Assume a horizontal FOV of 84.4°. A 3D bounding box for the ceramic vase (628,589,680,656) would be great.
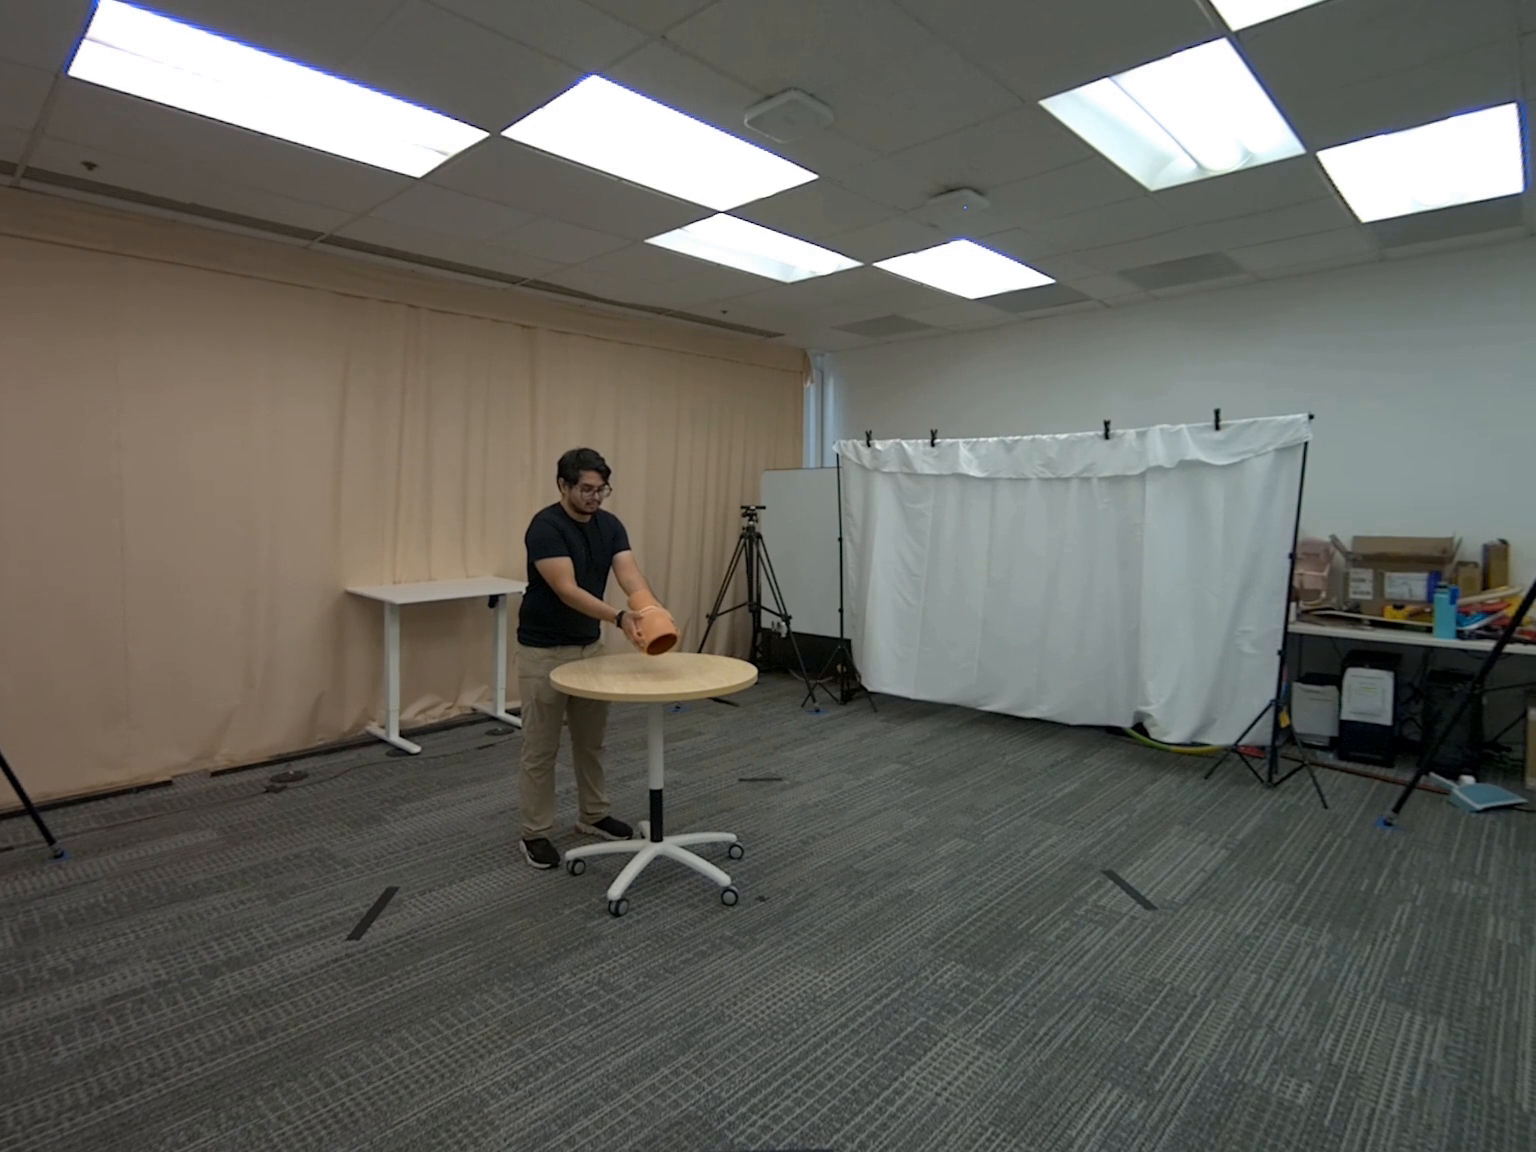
[{"bbox_3d":[-0.430,0.164,3.071,0.134,0.226,0.154,-32,-32,0],"label":"ceramic vase"}]
